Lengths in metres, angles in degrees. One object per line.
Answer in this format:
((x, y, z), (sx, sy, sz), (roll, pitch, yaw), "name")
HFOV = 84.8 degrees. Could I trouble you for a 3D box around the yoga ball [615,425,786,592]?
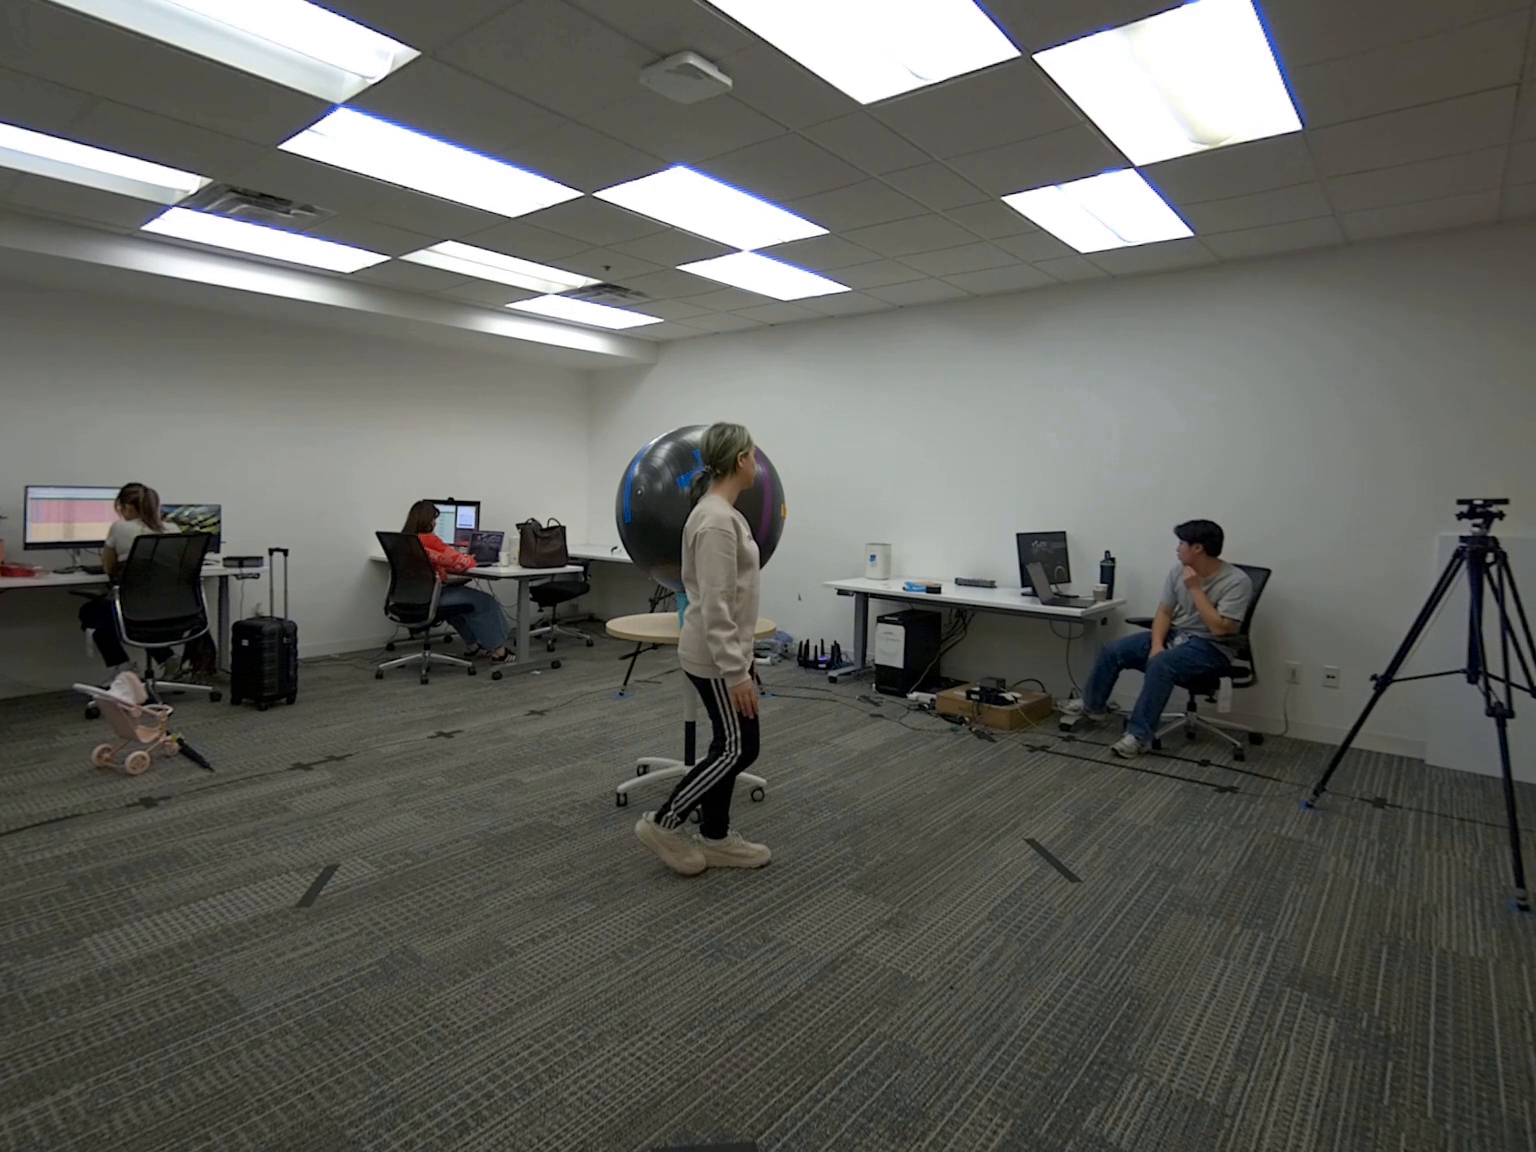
((-0.313, -0.295, 3.808), (0.757, 0.756, 0.762), (1, 4, -2), "yoga ball")
